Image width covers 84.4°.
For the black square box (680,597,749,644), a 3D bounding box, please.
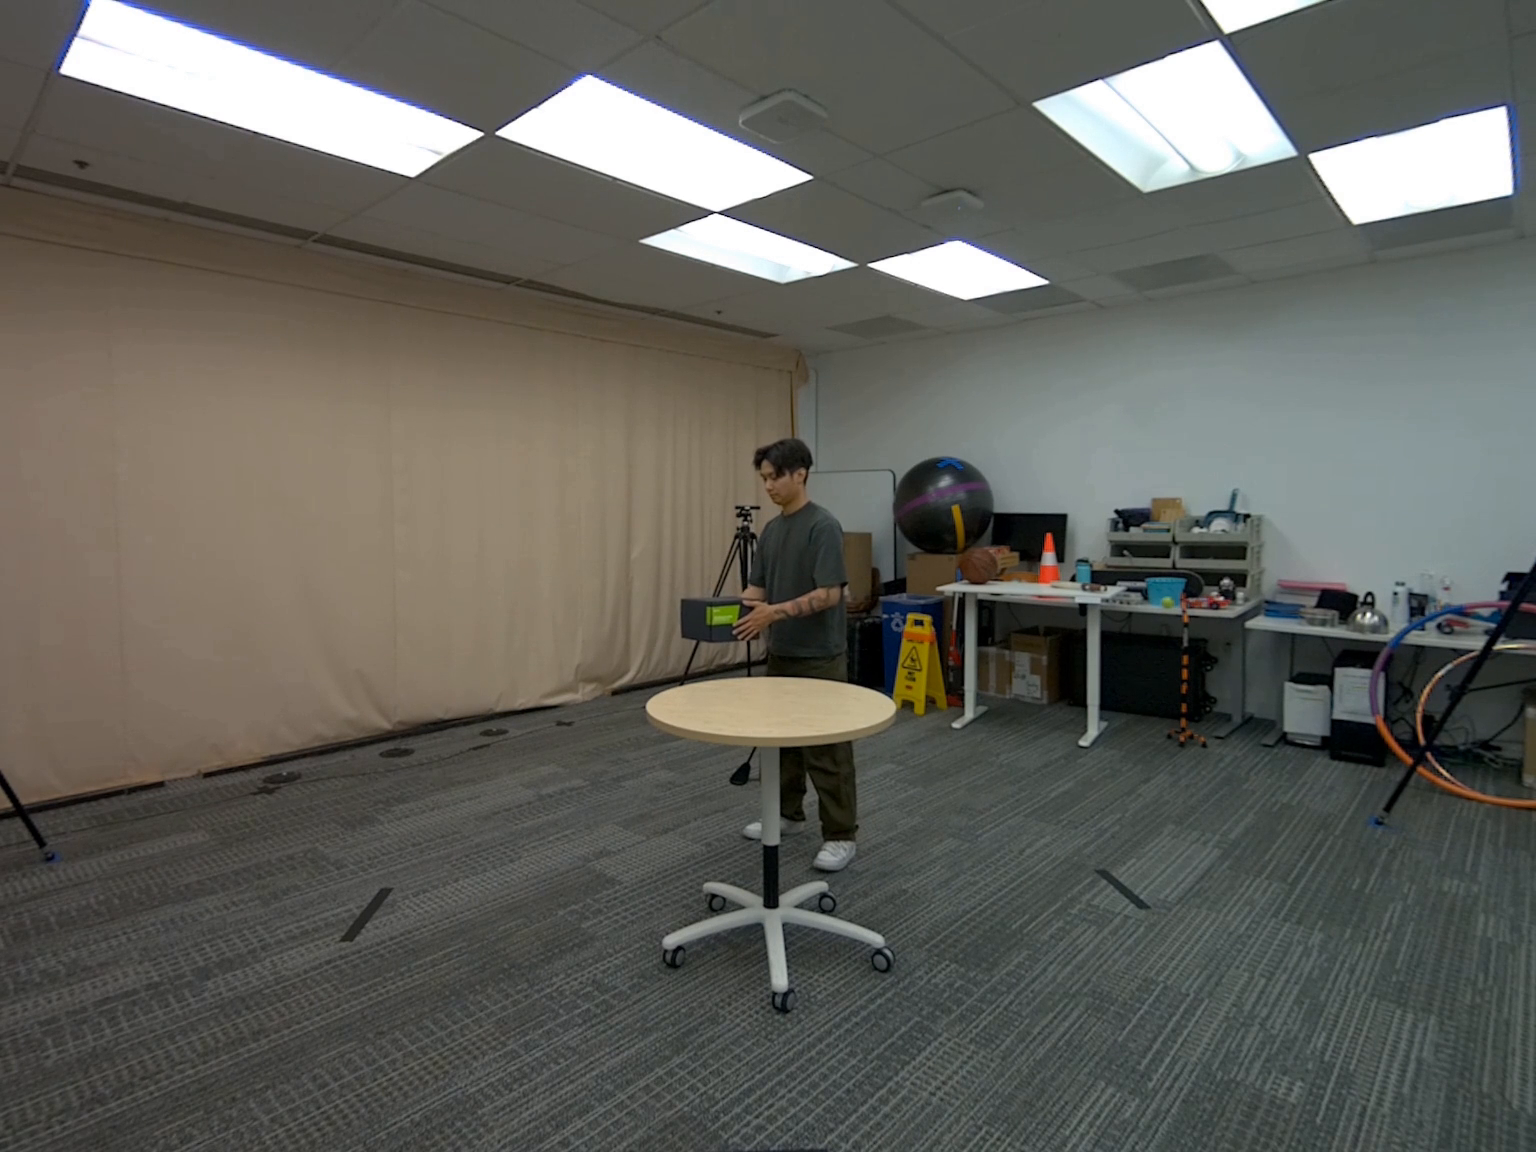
[{"bbox_3d":[-0.187,0.166,3.251,0.221,0.156,0.224,-1,2,-37],"label":"black square box"}]
